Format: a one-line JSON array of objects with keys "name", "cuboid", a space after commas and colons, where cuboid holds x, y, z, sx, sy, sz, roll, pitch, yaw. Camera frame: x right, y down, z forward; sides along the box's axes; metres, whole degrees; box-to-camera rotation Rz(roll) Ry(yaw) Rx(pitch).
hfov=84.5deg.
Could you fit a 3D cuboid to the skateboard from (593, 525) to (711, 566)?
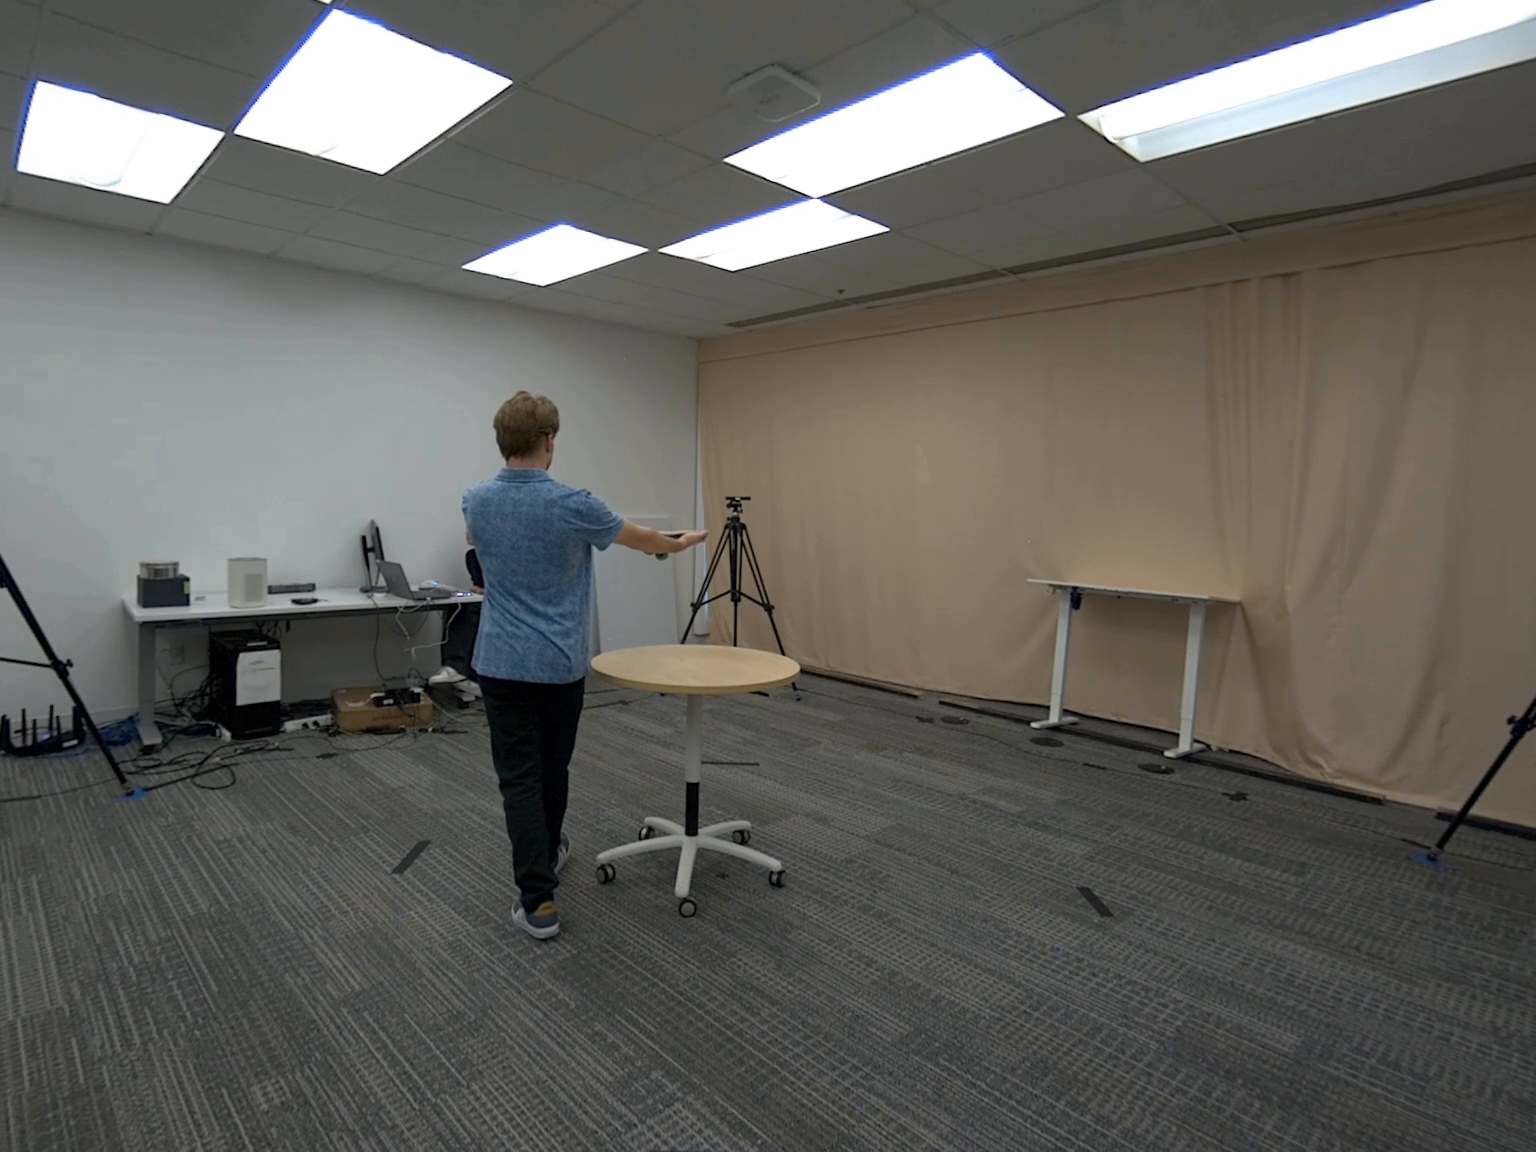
[{"name": "skateboard", "cuboid": [-0.635, -0.137, 3.312, 0.794, 0.111, 0.190, 4, -7, 13]}]
